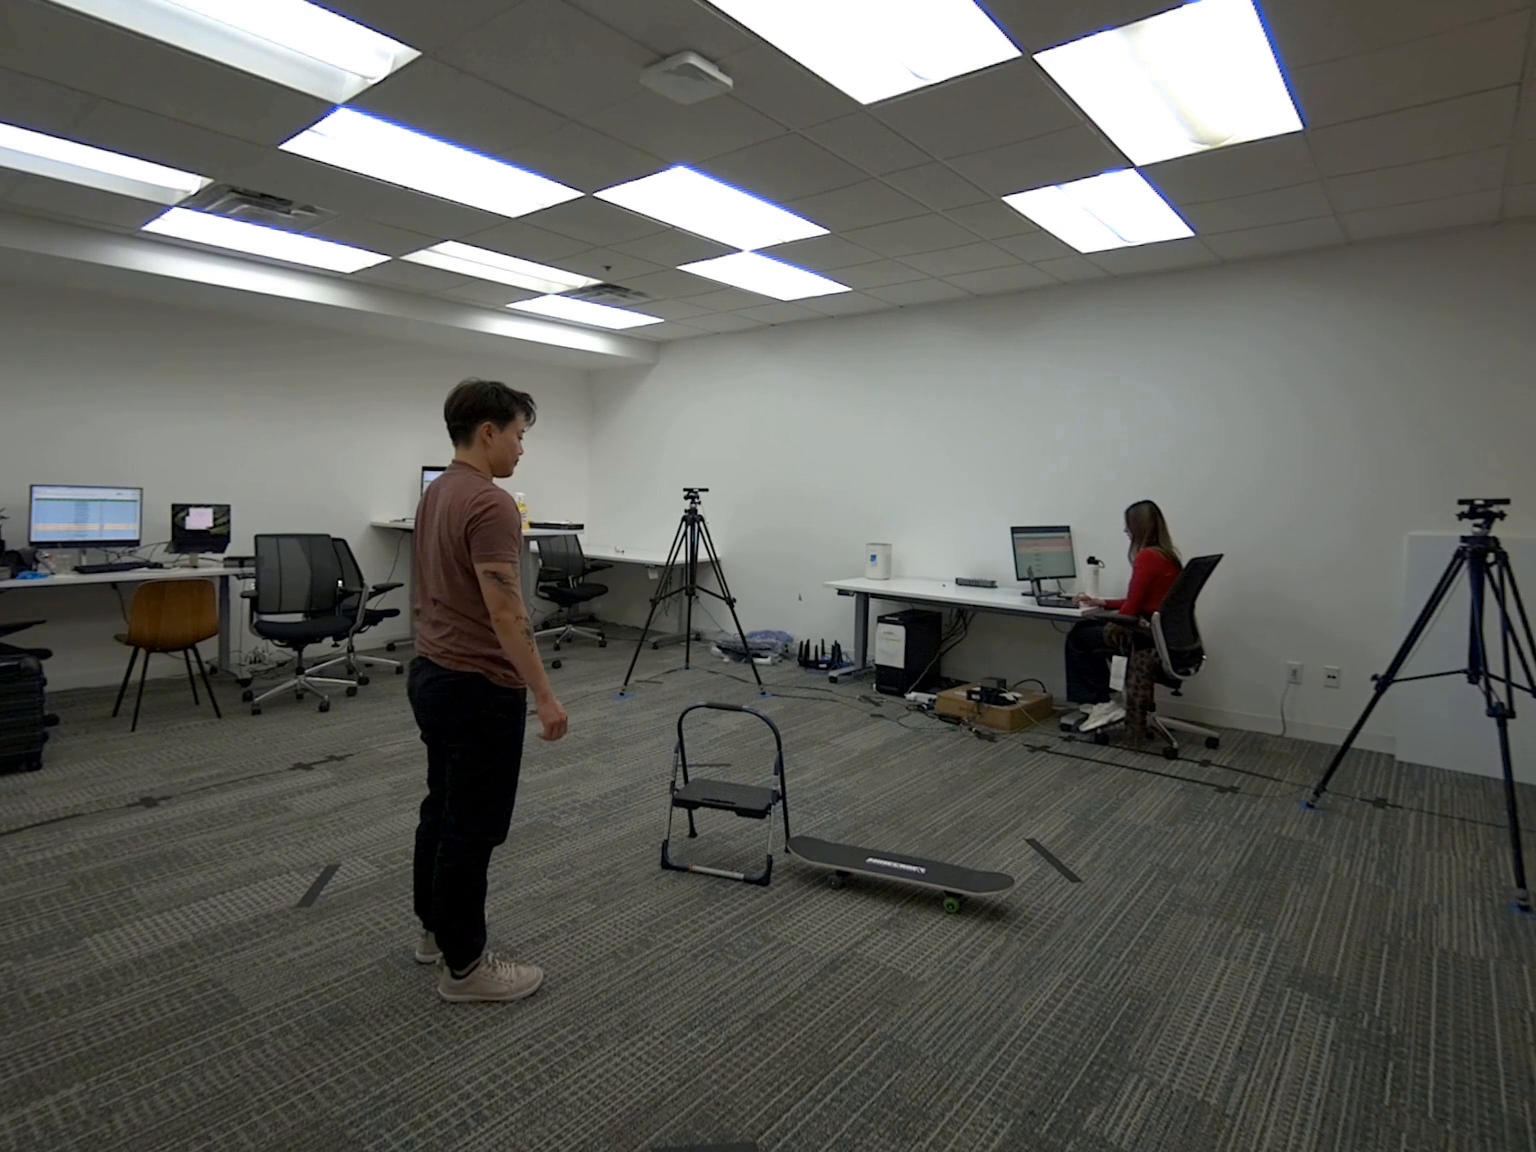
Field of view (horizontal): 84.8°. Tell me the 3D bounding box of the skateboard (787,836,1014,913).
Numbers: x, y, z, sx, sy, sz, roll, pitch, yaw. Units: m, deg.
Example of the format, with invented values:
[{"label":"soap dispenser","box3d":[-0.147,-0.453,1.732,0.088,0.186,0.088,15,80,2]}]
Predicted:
[{"label":"skateboard","box3d":[0.429,1.034,2.977,0.803,0.110,0.190,4,6,21]}]
